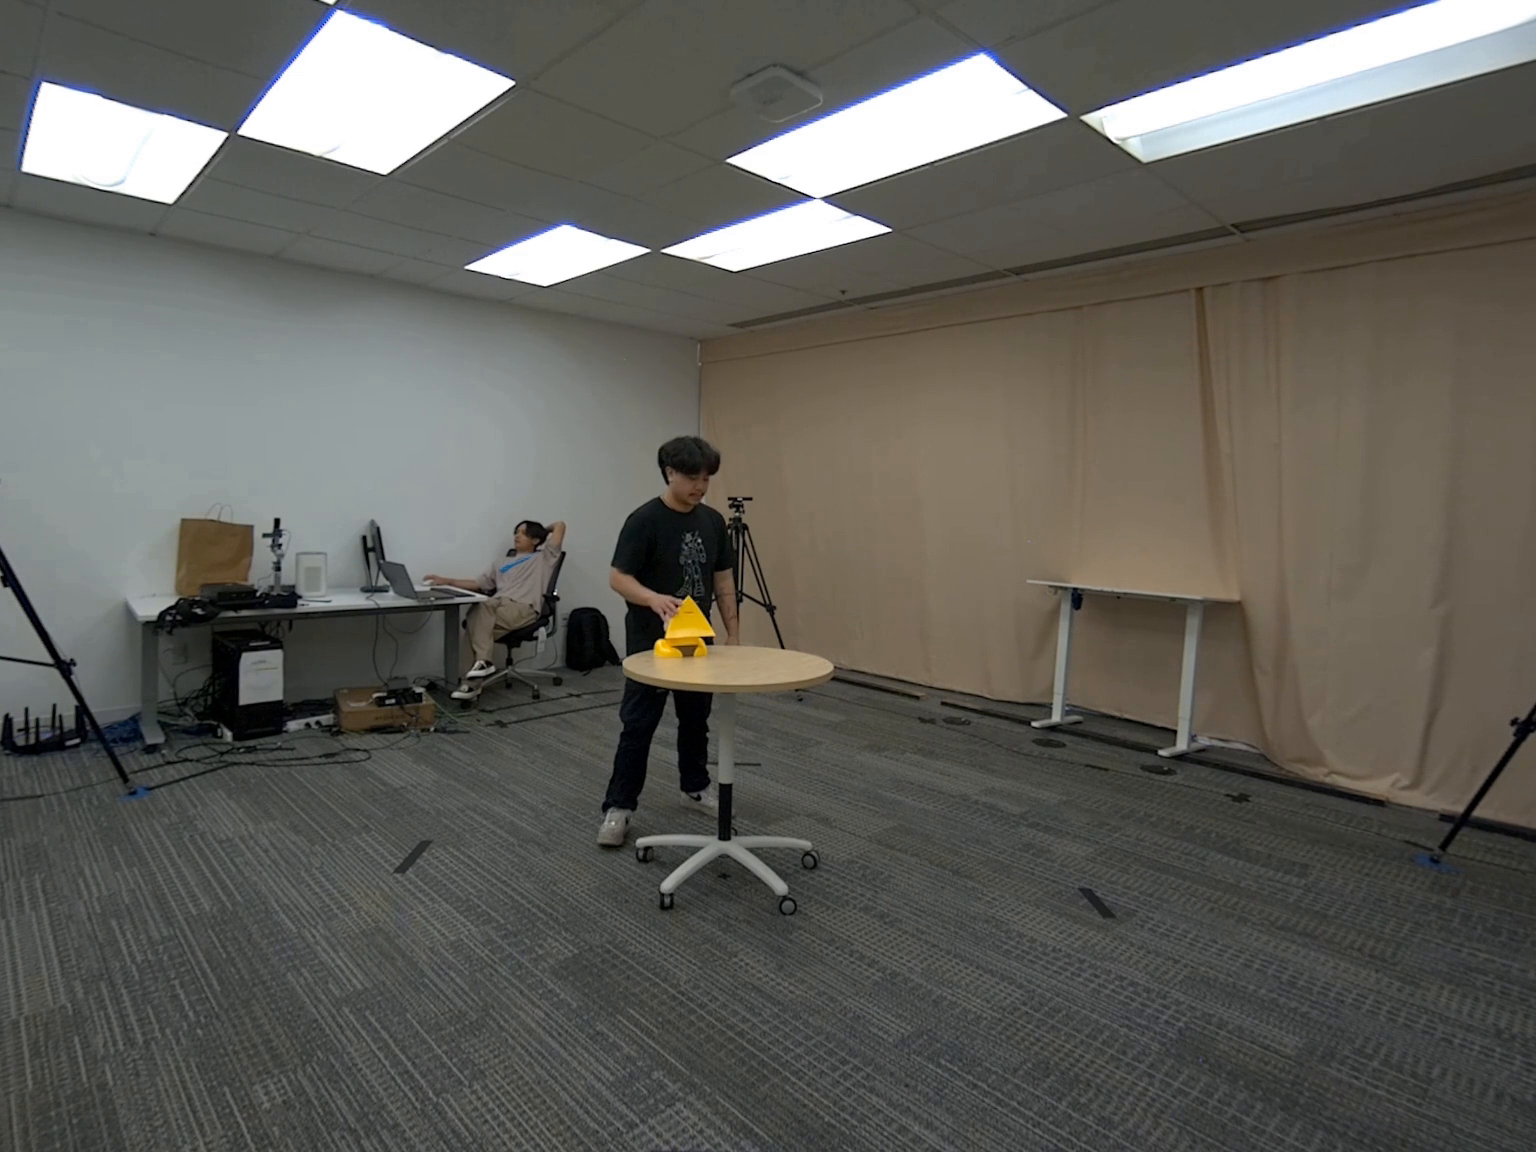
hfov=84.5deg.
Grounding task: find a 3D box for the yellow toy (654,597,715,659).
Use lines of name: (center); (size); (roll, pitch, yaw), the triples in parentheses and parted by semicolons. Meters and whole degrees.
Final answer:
yellow toy: (-0.347, 0.186, 3.231); (0.201, 0.230, 0.197); (-2, 4, -29)
